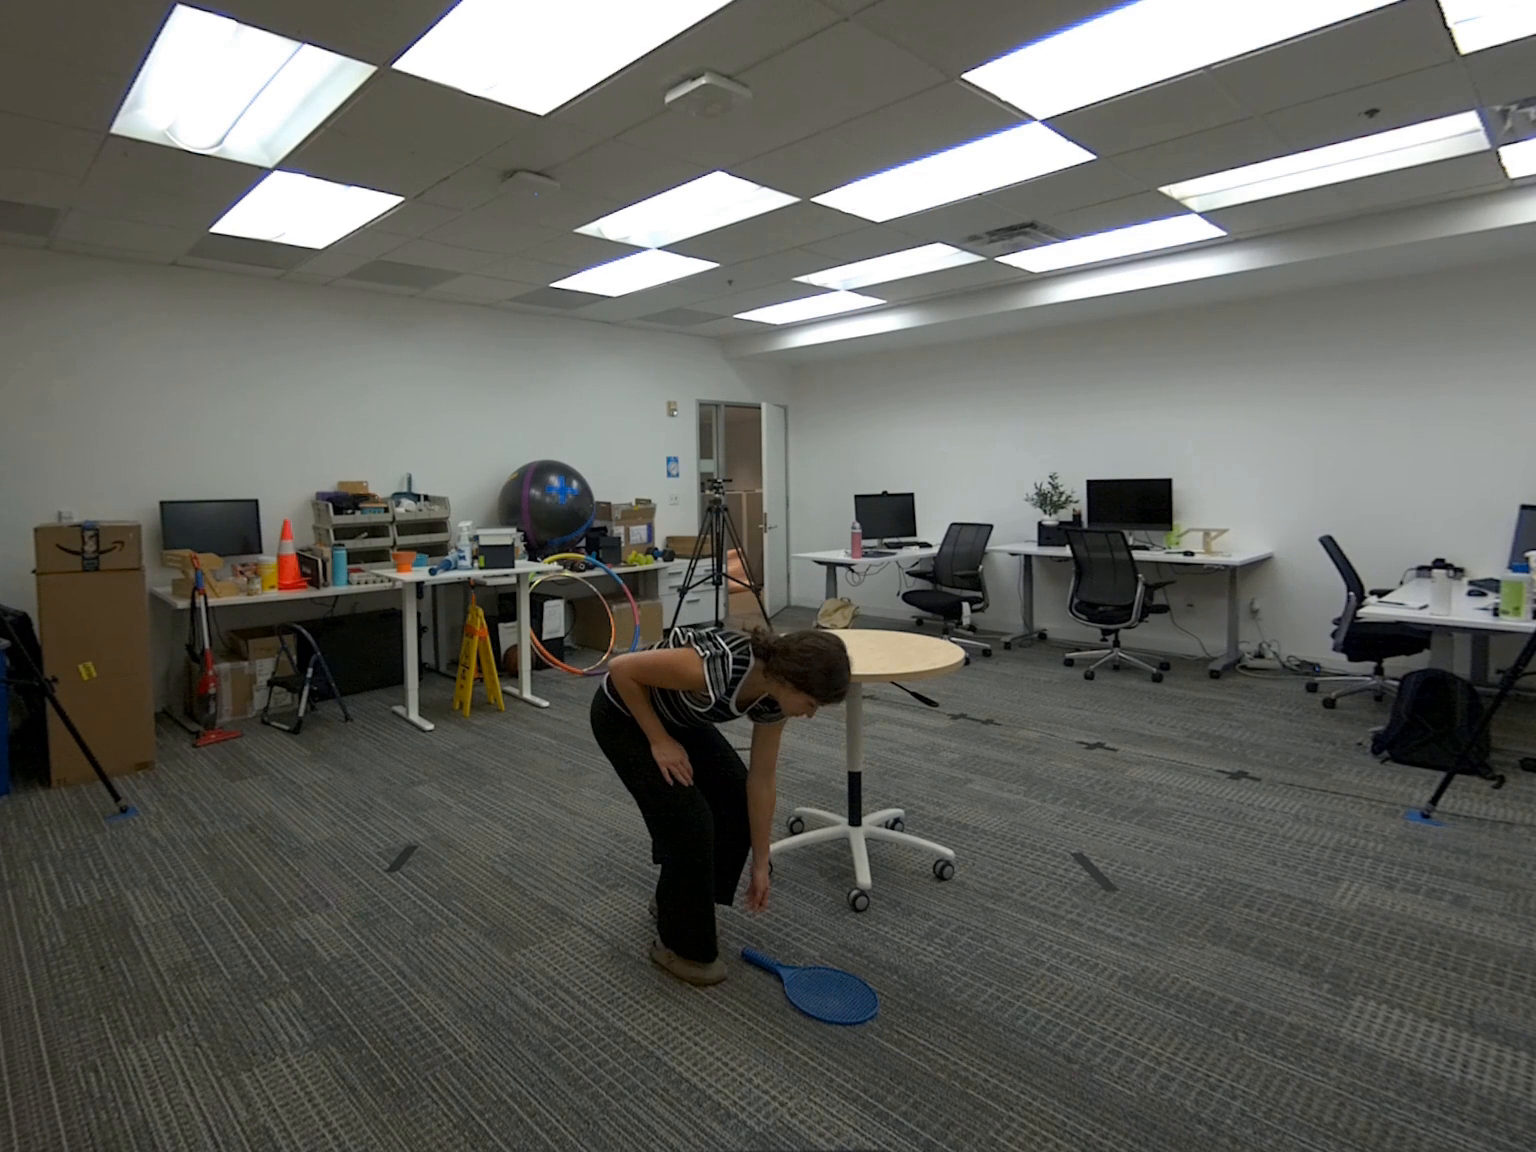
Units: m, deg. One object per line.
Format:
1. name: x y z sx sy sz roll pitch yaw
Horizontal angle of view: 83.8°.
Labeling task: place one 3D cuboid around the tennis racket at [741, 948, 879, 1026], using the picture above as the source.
1. tennis racket: 0.102 1.113 2.354 0.446 0.031 0.208 6 10 38
